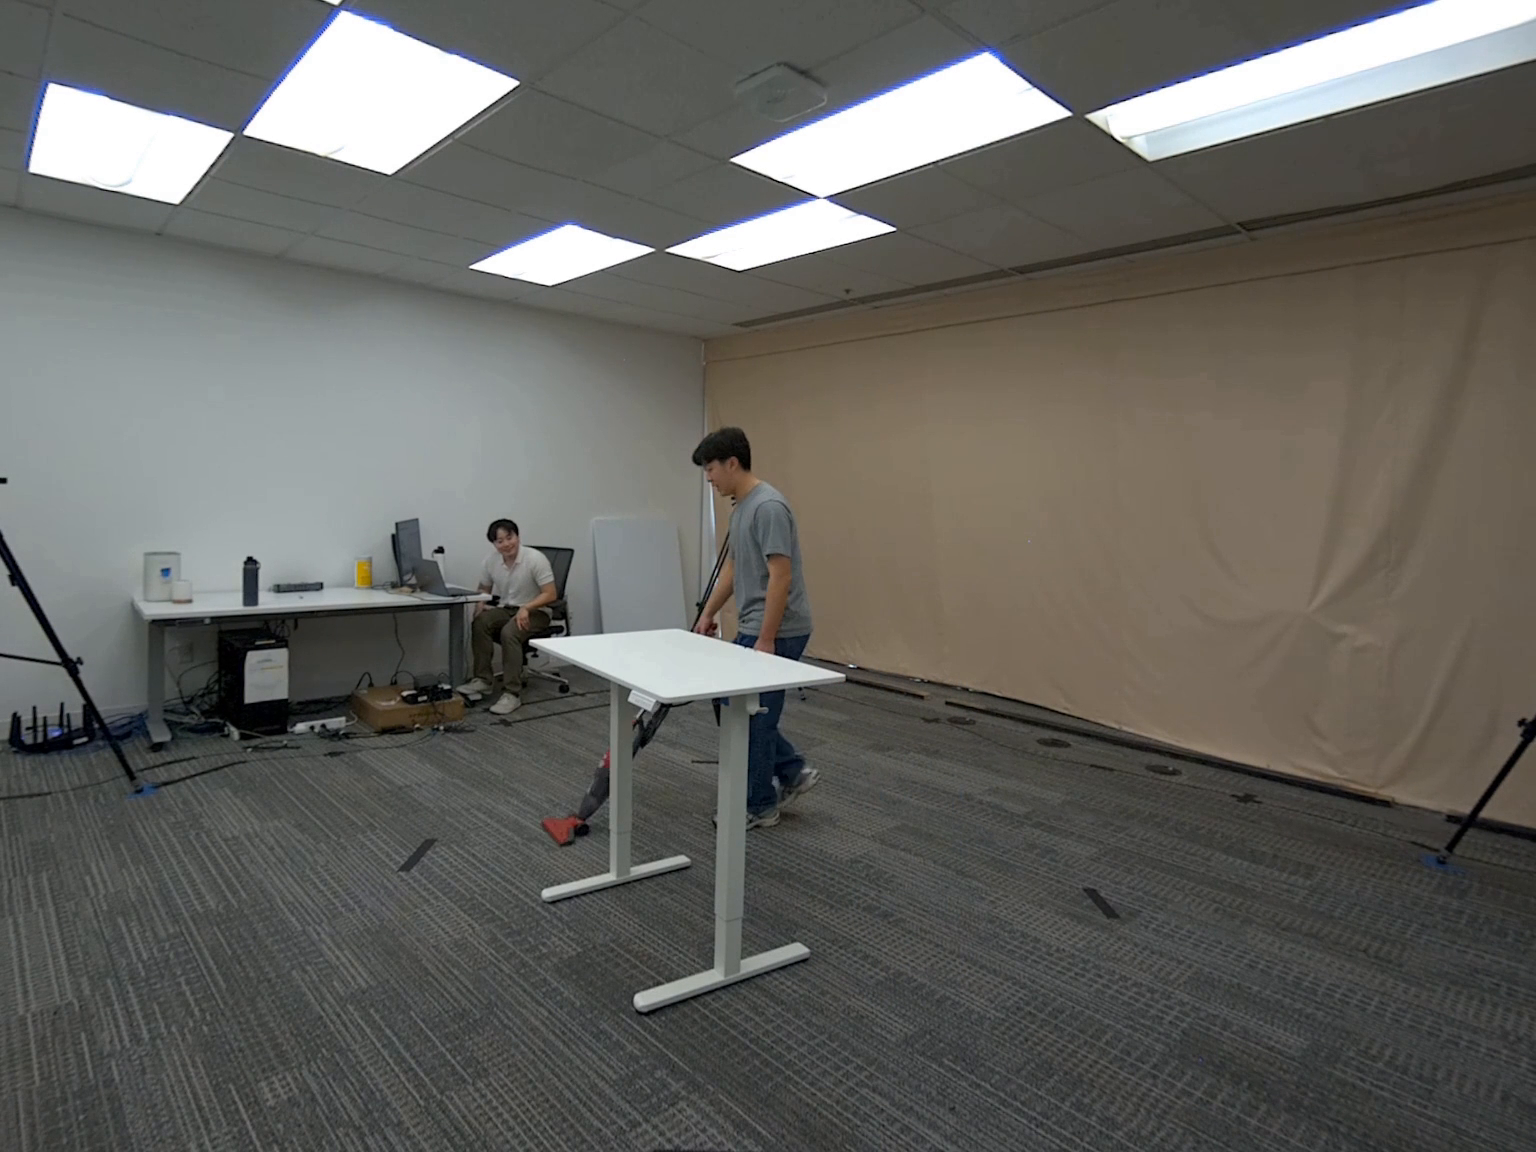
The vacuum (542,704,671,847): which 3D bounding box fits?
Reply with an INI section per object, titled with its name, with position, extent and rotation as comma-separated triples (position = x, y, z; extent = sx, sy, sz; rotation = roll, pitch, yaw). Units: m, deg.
[vacuum]
position = -0.551, 0.647, 3.600
extent = 0.140, 1.051, 0.259
rotation = 45, -19, -28
